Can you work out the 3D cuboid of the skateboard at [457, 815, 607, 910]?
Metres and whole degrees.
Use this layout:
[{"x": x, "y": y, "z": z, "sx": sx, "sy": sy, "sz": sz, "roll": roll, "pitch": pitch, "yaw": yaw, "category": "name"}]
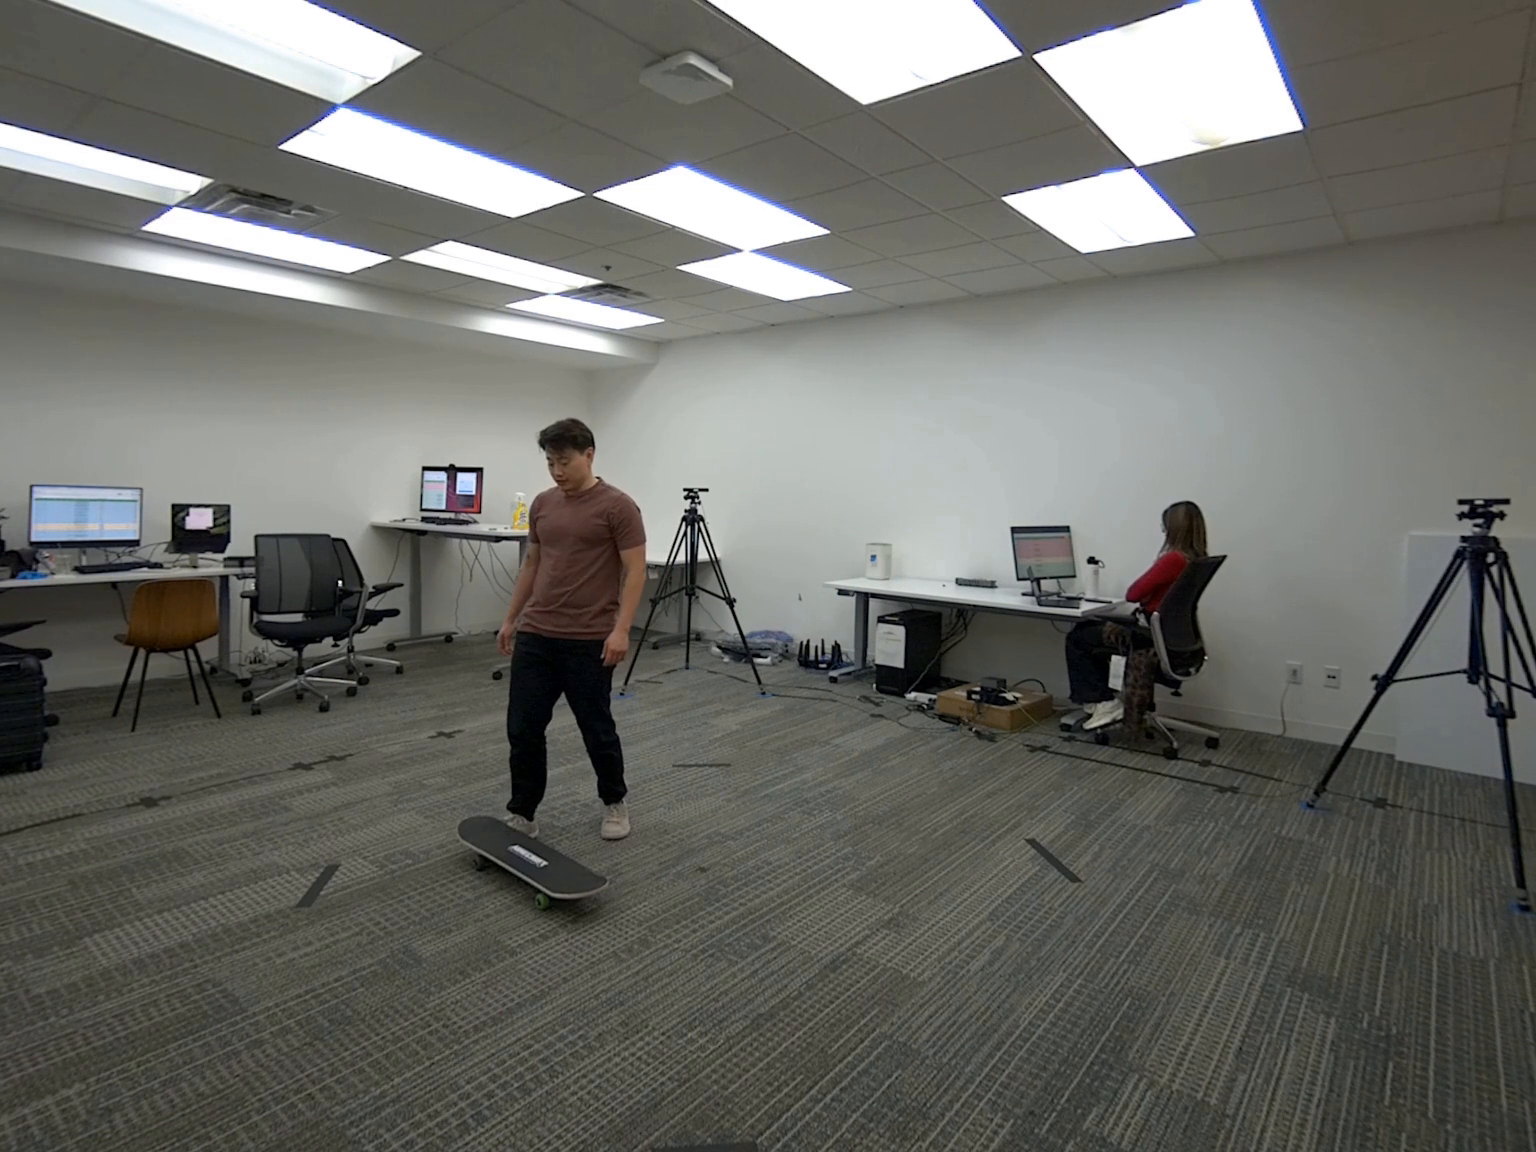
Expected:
[{"x": -0.859, "y": 1.009, "z": 2.982, "sx": 0.813, "sy": 0.110, "sz": 0.188, "roll": 7, "pitch": 8, "yaw": 42, "category": "skateboard"}]
